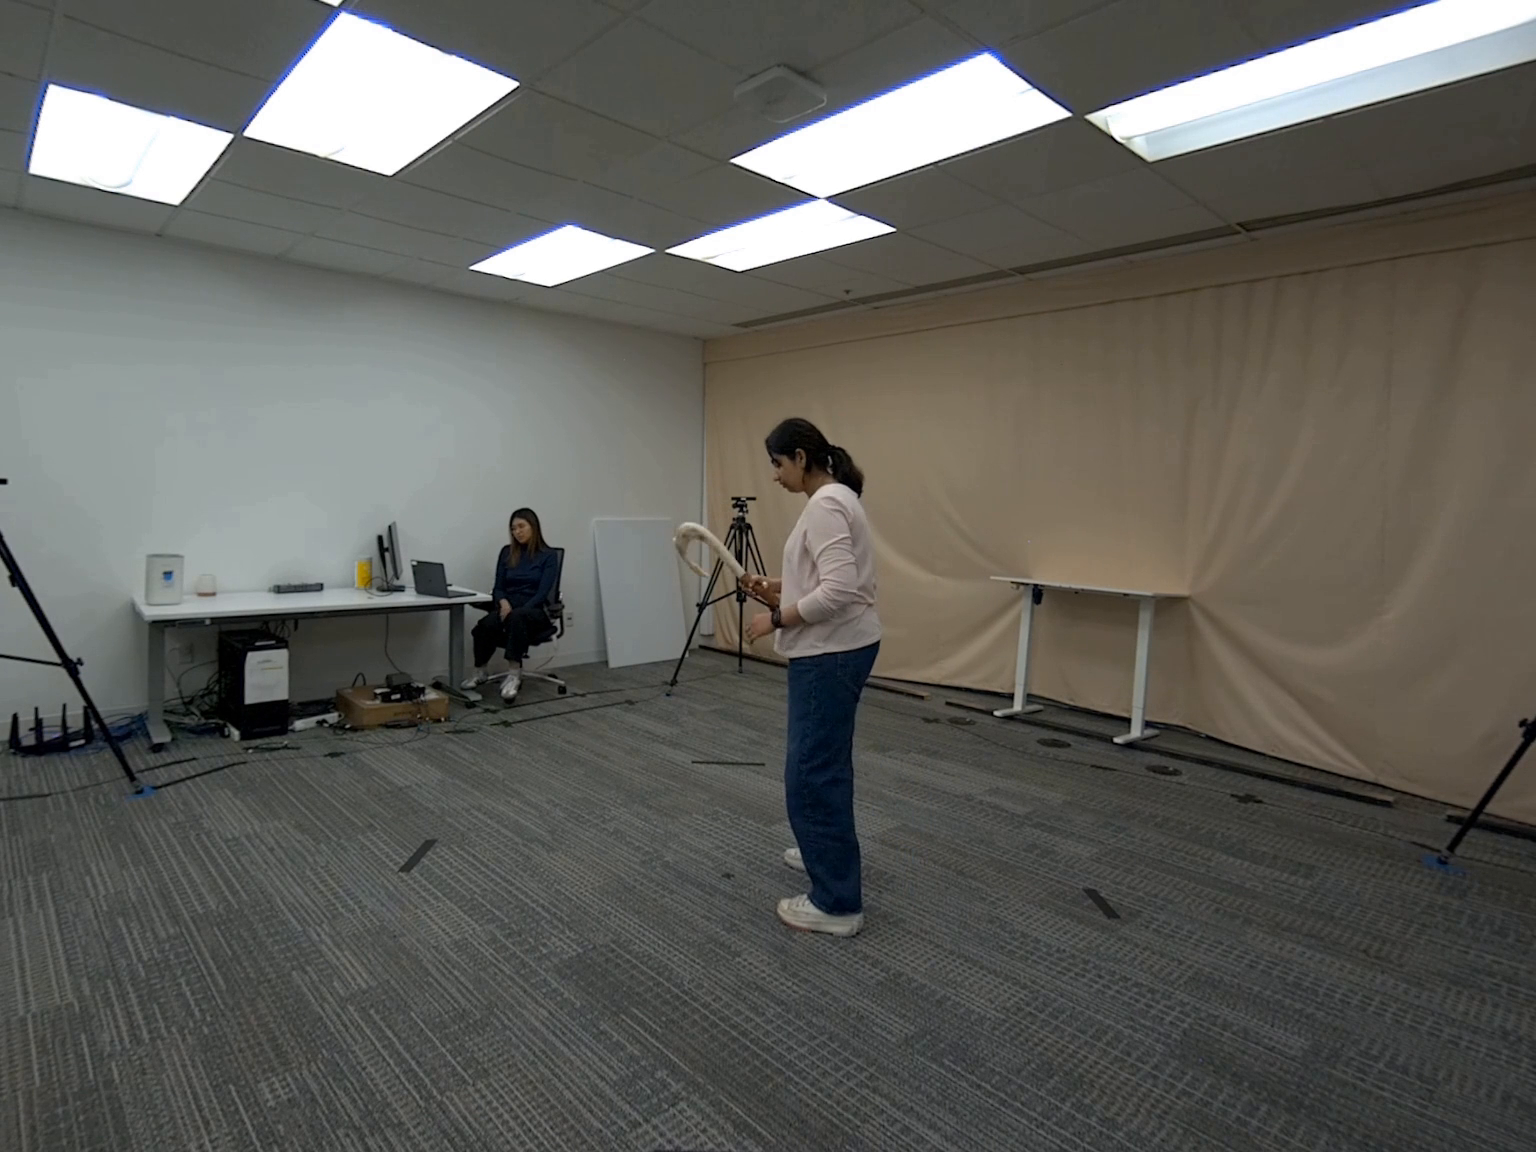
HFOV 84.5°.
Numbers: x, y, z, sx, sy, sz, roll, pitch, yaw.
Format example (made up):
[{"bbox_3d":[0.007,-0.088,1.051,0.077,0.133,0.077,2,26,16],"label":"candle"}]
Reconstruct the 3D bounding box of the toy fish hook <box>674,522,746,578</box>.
[{"bbox_3d":[-0.155,-0.006,3.152,0.513,0.222,0.048,40,49,11],"label":"toy fish hook"}]
